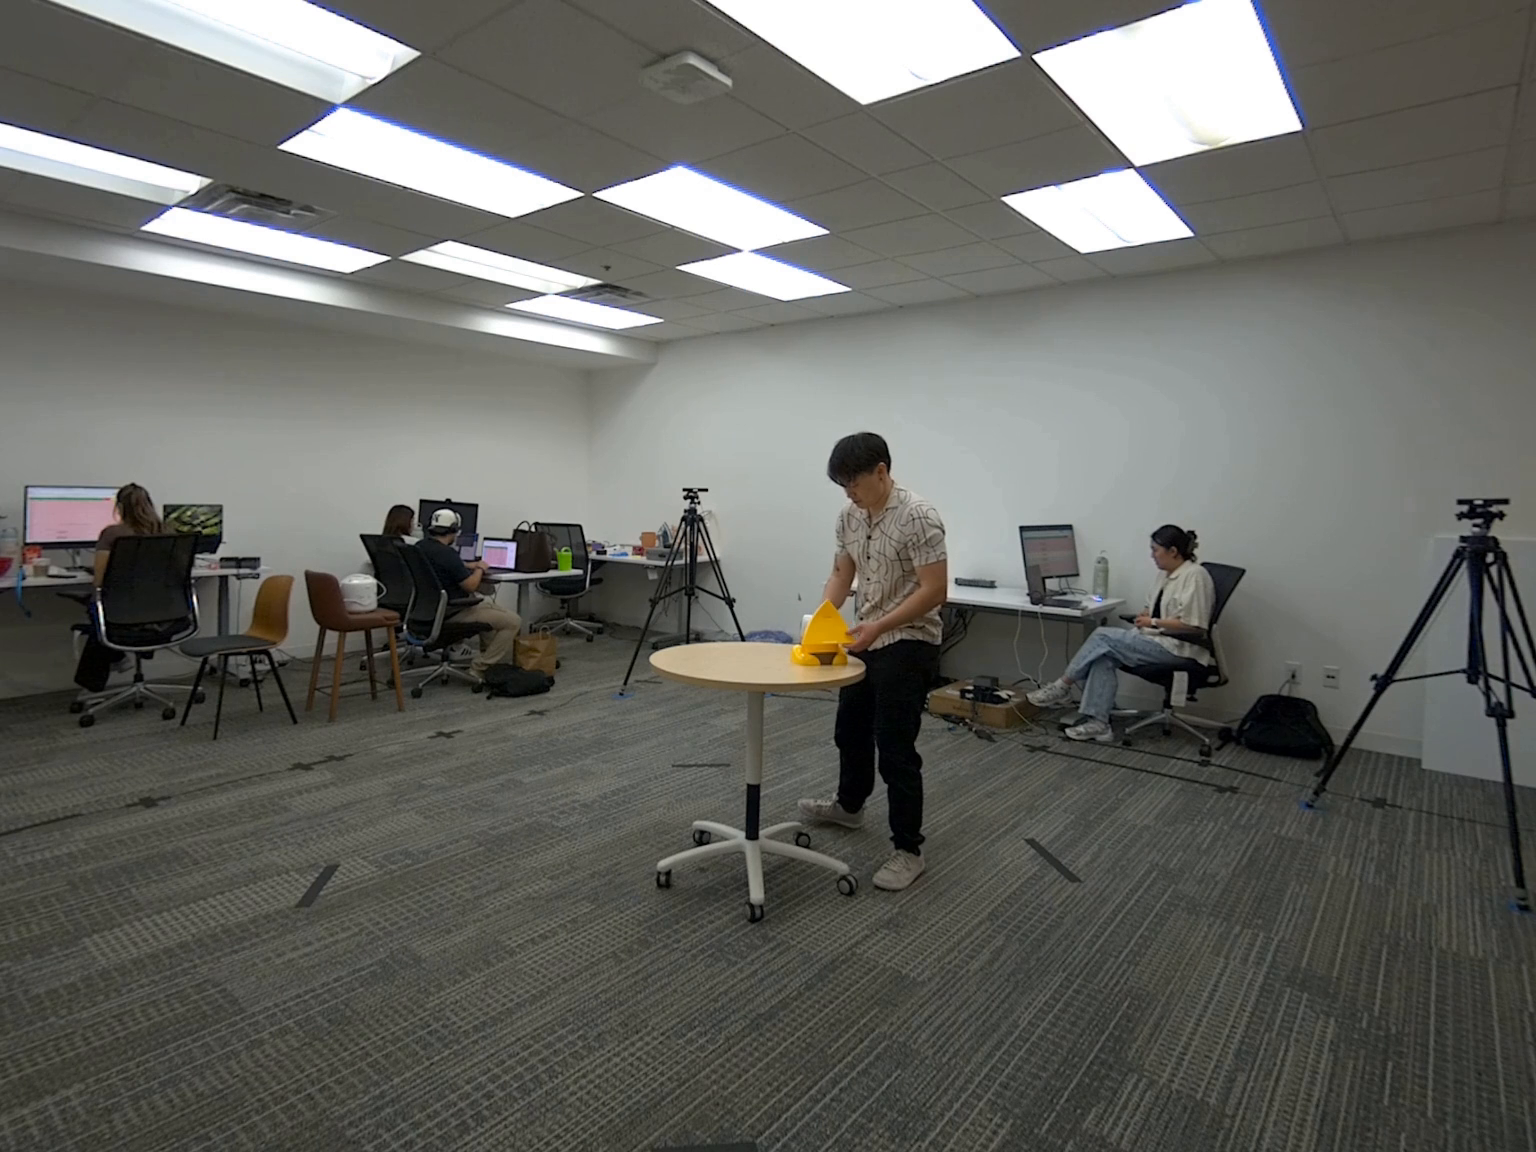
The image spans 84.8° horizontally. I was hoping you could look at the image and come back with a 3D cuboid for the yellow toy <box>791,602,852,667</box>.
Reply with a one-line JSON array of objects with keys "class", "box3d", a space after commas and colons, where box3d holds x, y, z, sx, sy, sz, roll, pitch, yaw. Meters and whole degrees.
[{"class": "yellow toy", "box3d": [0.177, 0.188, 3.043, 0.201, 0.230, 0.197, 1, 2, -18]}]
